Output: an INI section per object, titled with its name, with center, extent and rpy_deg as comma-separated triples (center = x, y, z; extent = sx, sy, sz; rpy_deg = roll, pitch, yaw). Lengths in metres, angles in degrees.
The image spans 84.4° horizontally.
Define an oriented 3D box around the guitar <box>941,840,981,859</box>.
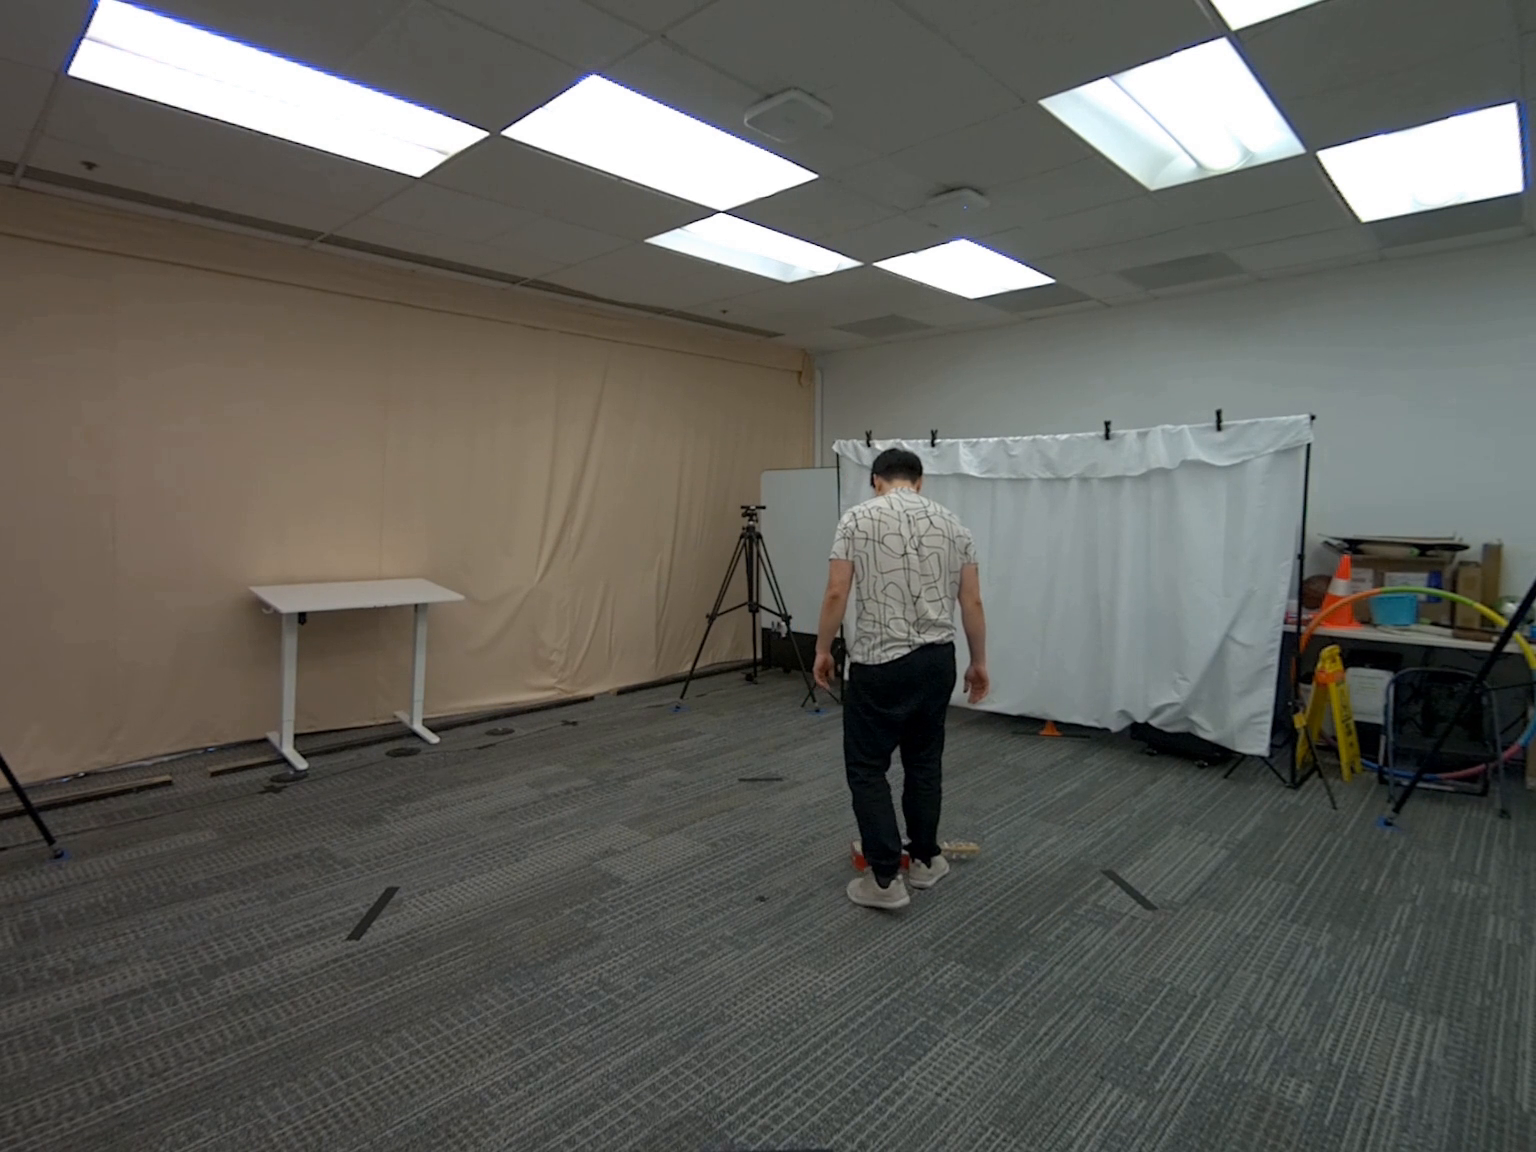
[guitar]
center = 0.583, 1.089, 3.261
extent = 0.502, 0.070, 0.191
rpy_deg = 1, 4, 8
